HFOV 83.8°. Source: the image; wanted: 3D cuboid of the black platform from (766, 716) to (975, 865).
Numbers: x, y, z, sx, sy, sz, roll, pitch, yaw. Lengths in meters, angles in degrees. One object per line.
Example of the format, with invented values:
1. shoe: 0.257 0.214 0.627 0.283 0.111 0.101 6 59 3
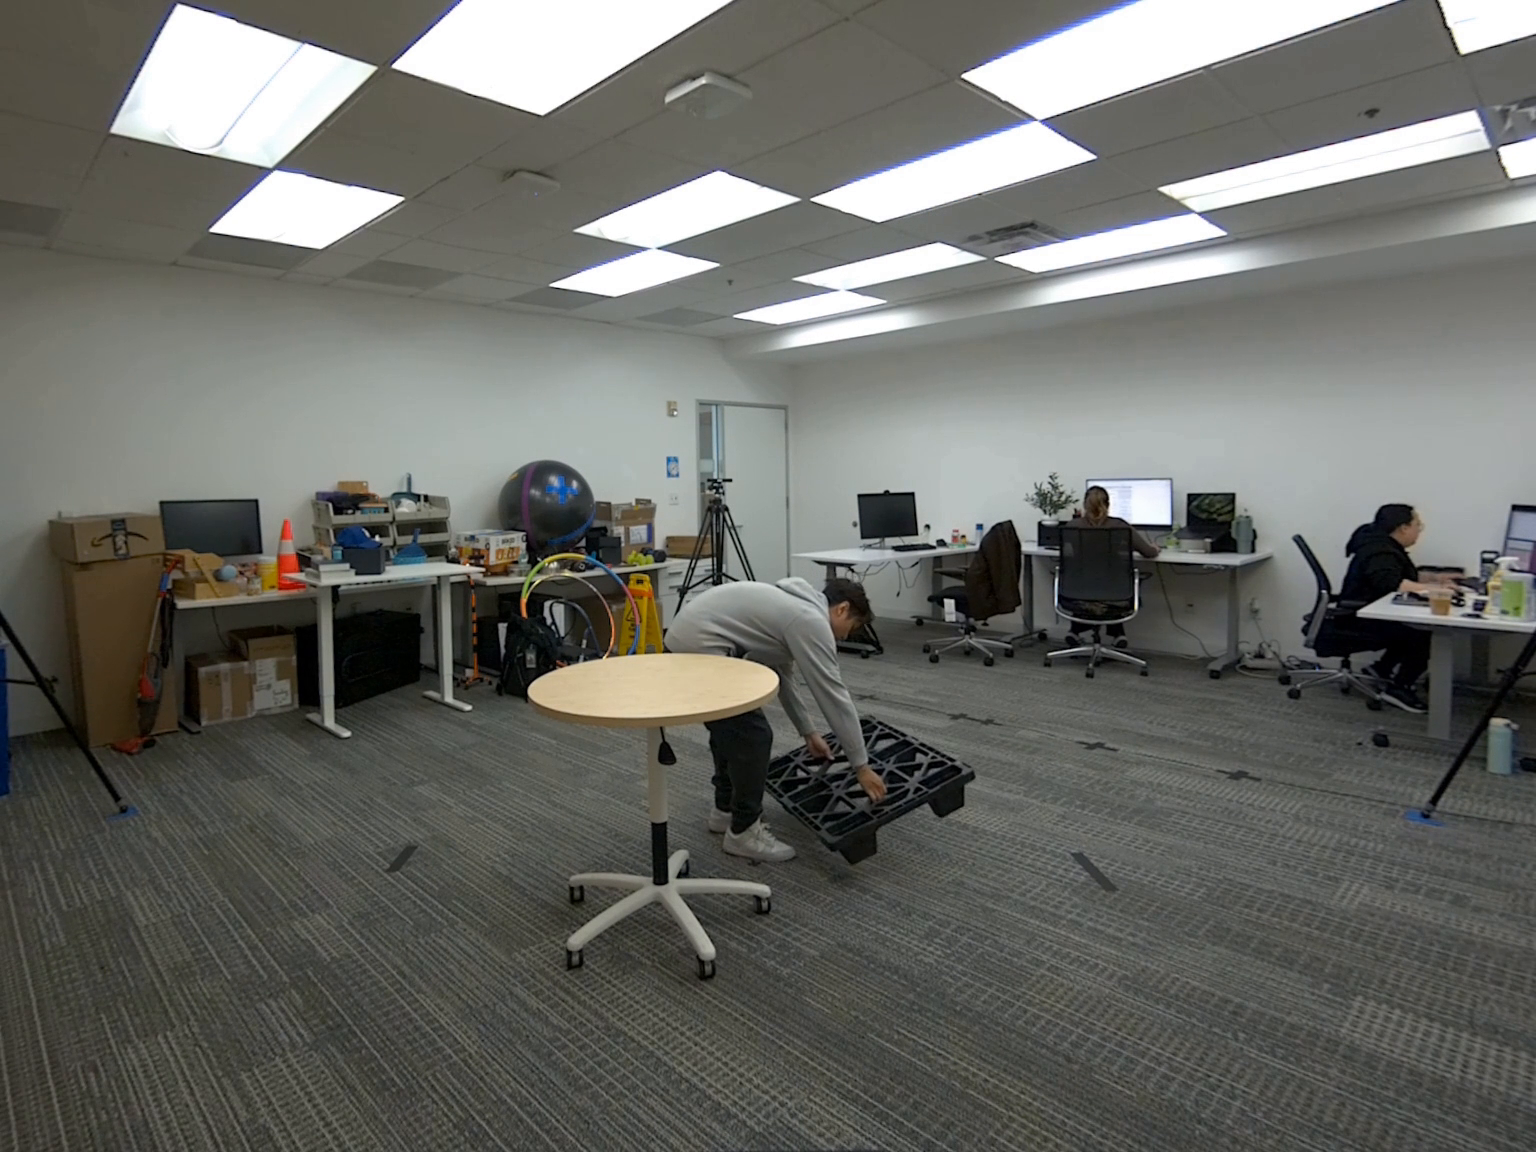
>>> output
1. black platform: 0.345 0.812 3.315 0.600 0.141 0.822 -23 12 -17
